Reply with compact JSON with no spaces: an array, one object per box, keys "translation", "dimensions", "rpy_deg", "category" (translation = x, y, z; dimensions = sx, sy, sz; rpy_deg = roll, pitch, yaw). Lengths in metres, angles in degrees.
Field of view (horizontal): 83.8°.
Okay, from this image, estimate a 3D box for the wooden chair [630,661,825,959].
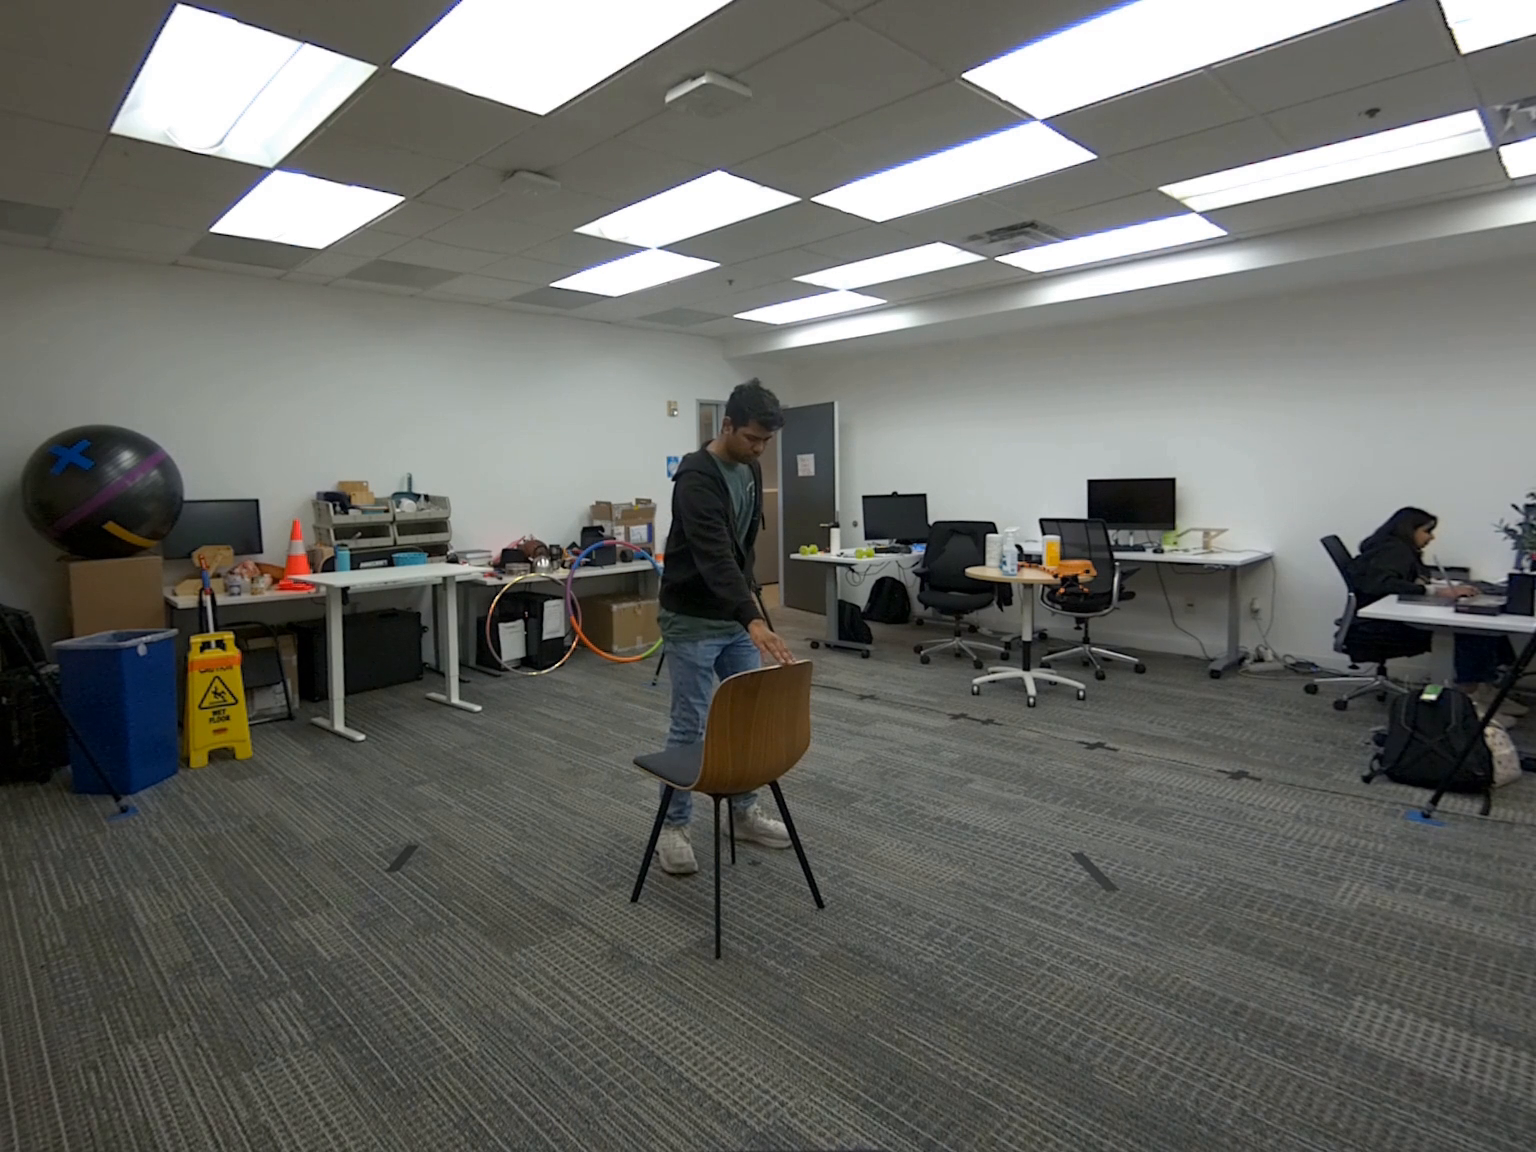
[{"translation":[-0.141,0.657,2.779],"dimensions":[0.465,0.872,0.540],"rpy_deg":[-5,10,-41],"category":"wooden chair"}]
